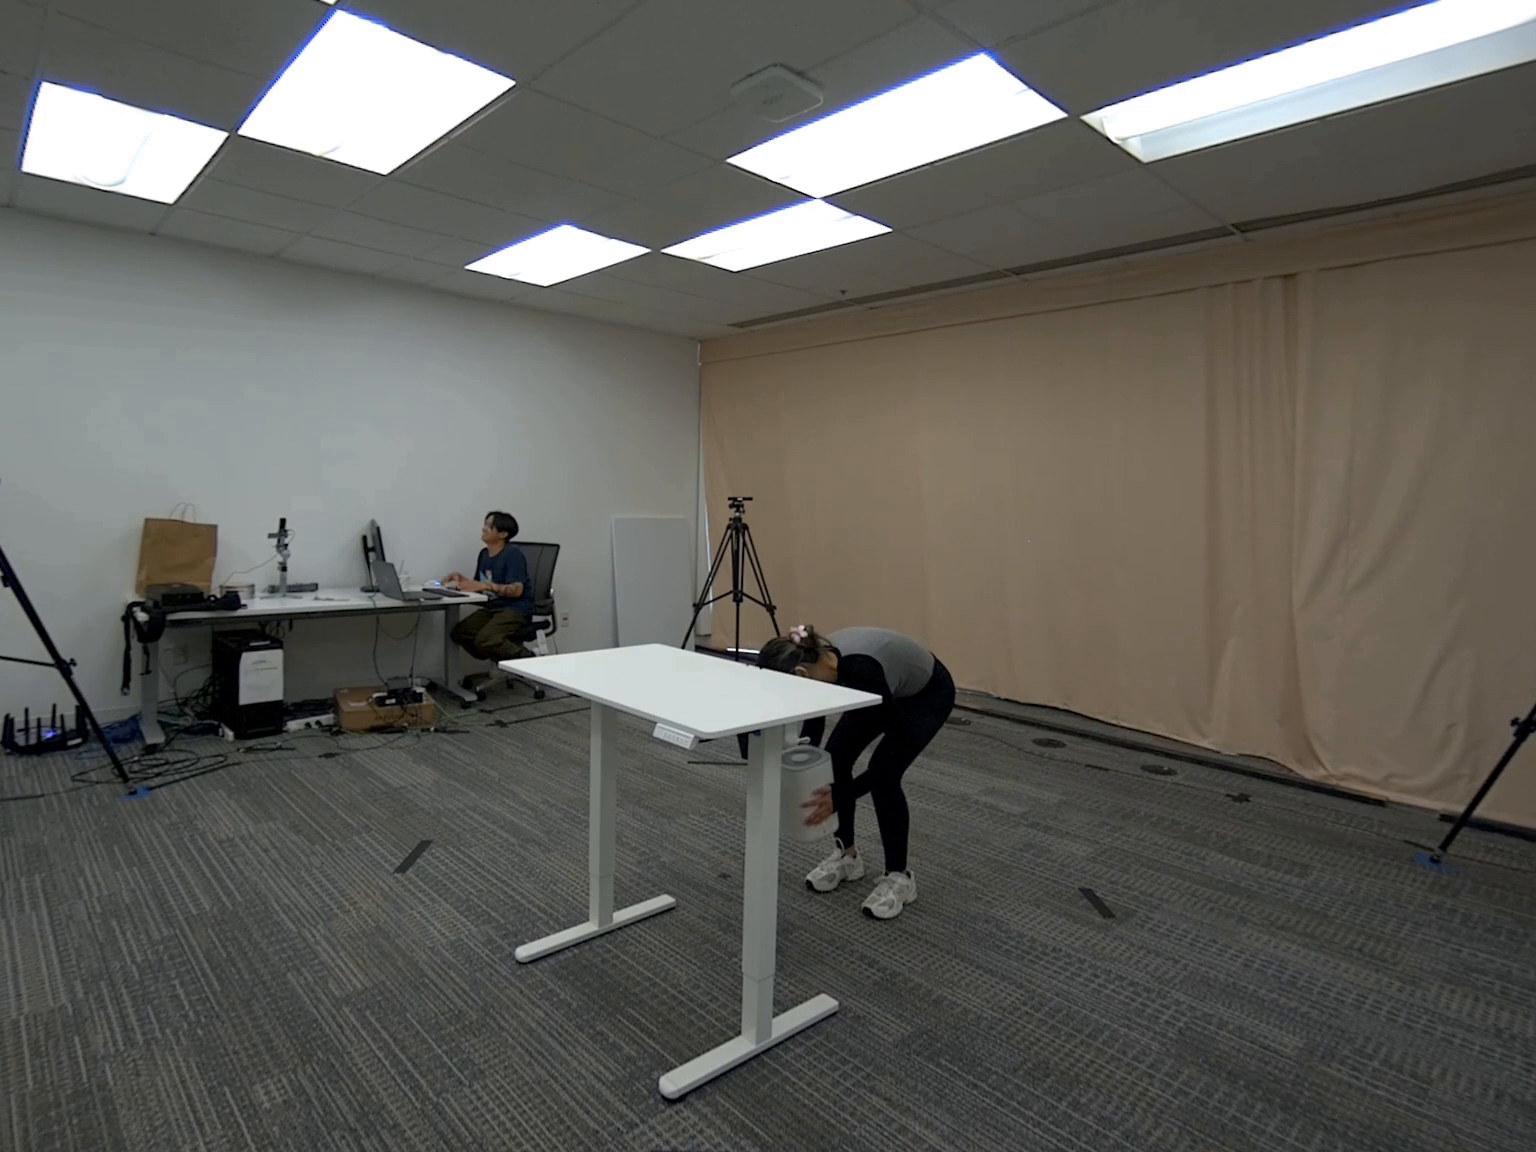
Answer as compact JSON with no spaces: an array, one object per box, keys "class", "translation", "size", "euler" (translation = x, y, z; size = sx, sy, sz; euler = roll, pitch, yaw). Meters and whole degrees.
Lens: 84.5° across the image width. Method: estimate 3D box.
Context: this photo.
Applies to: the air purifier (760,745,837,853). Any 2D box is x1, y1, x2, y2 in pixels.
[{"class":"air purifier","translation":[0.096,0.717,2.750],"size":[0.169,0.265,0.173],"euler":[-7,3,-18]}]
